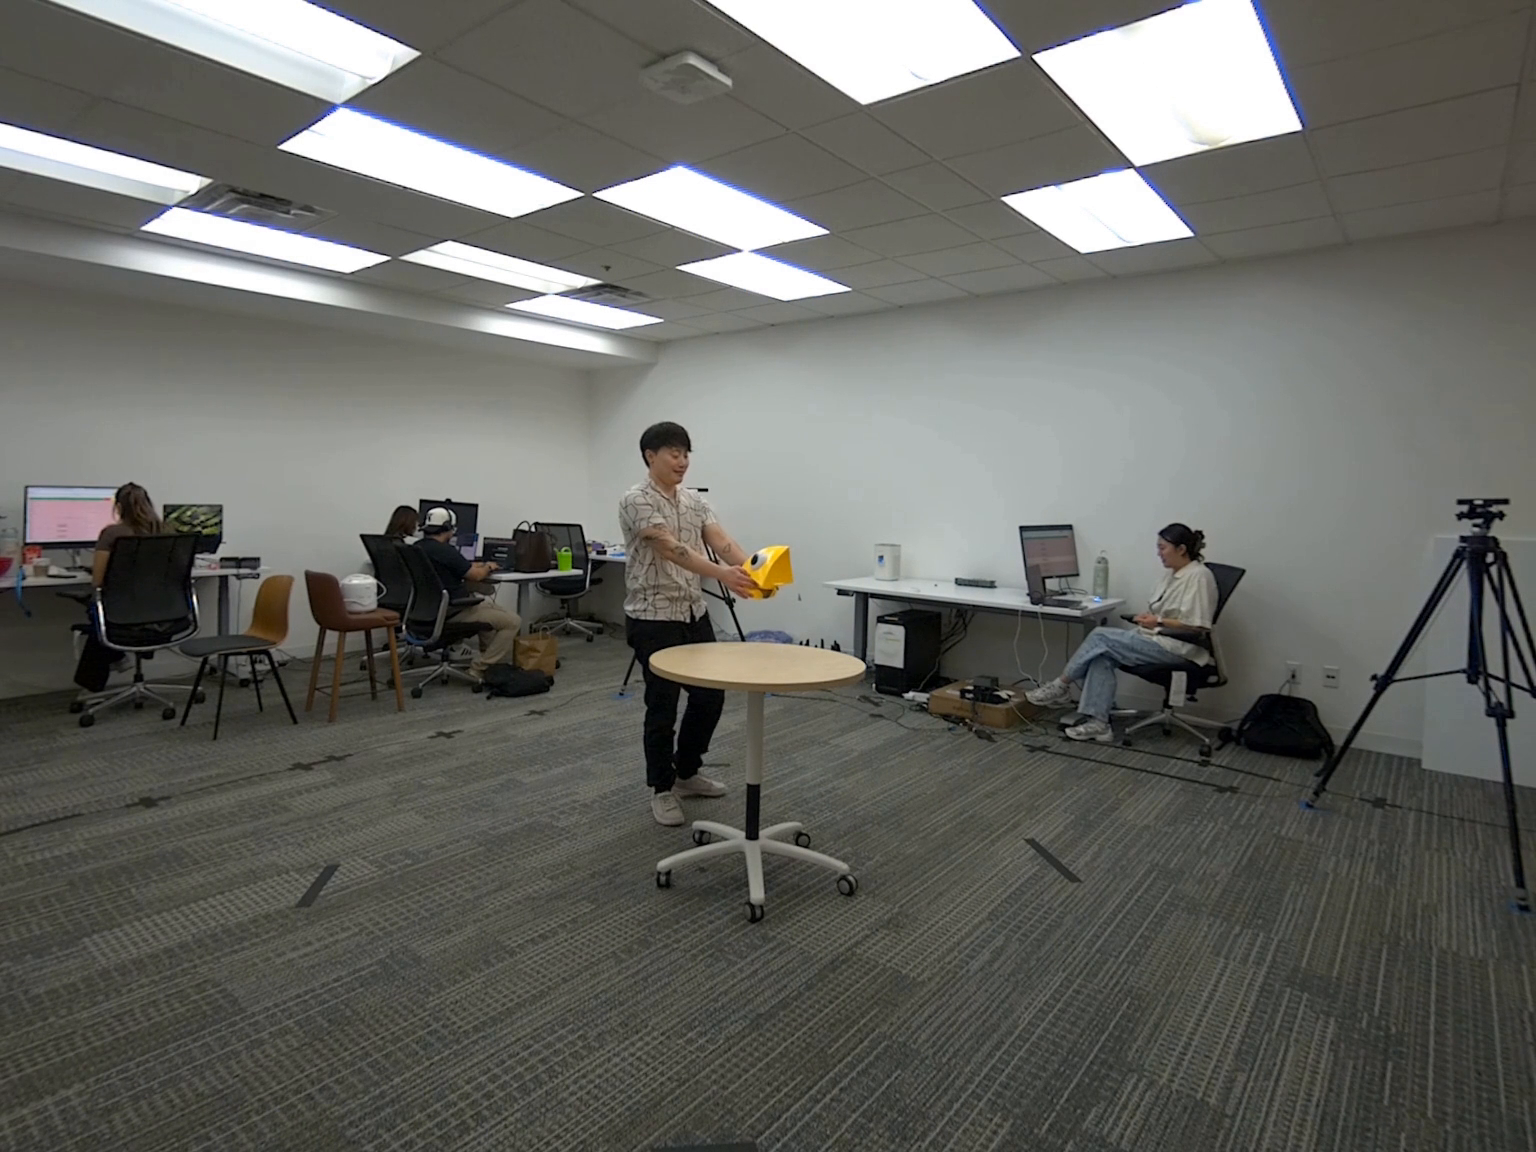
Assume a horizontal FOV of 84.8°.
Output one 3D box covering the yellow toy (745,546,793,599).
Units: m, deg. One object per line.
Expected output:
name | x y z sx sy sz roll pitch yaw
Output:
yellow toy | -0.018 -0.048 3.312 0.200 0.228 0.199 38 25 31
